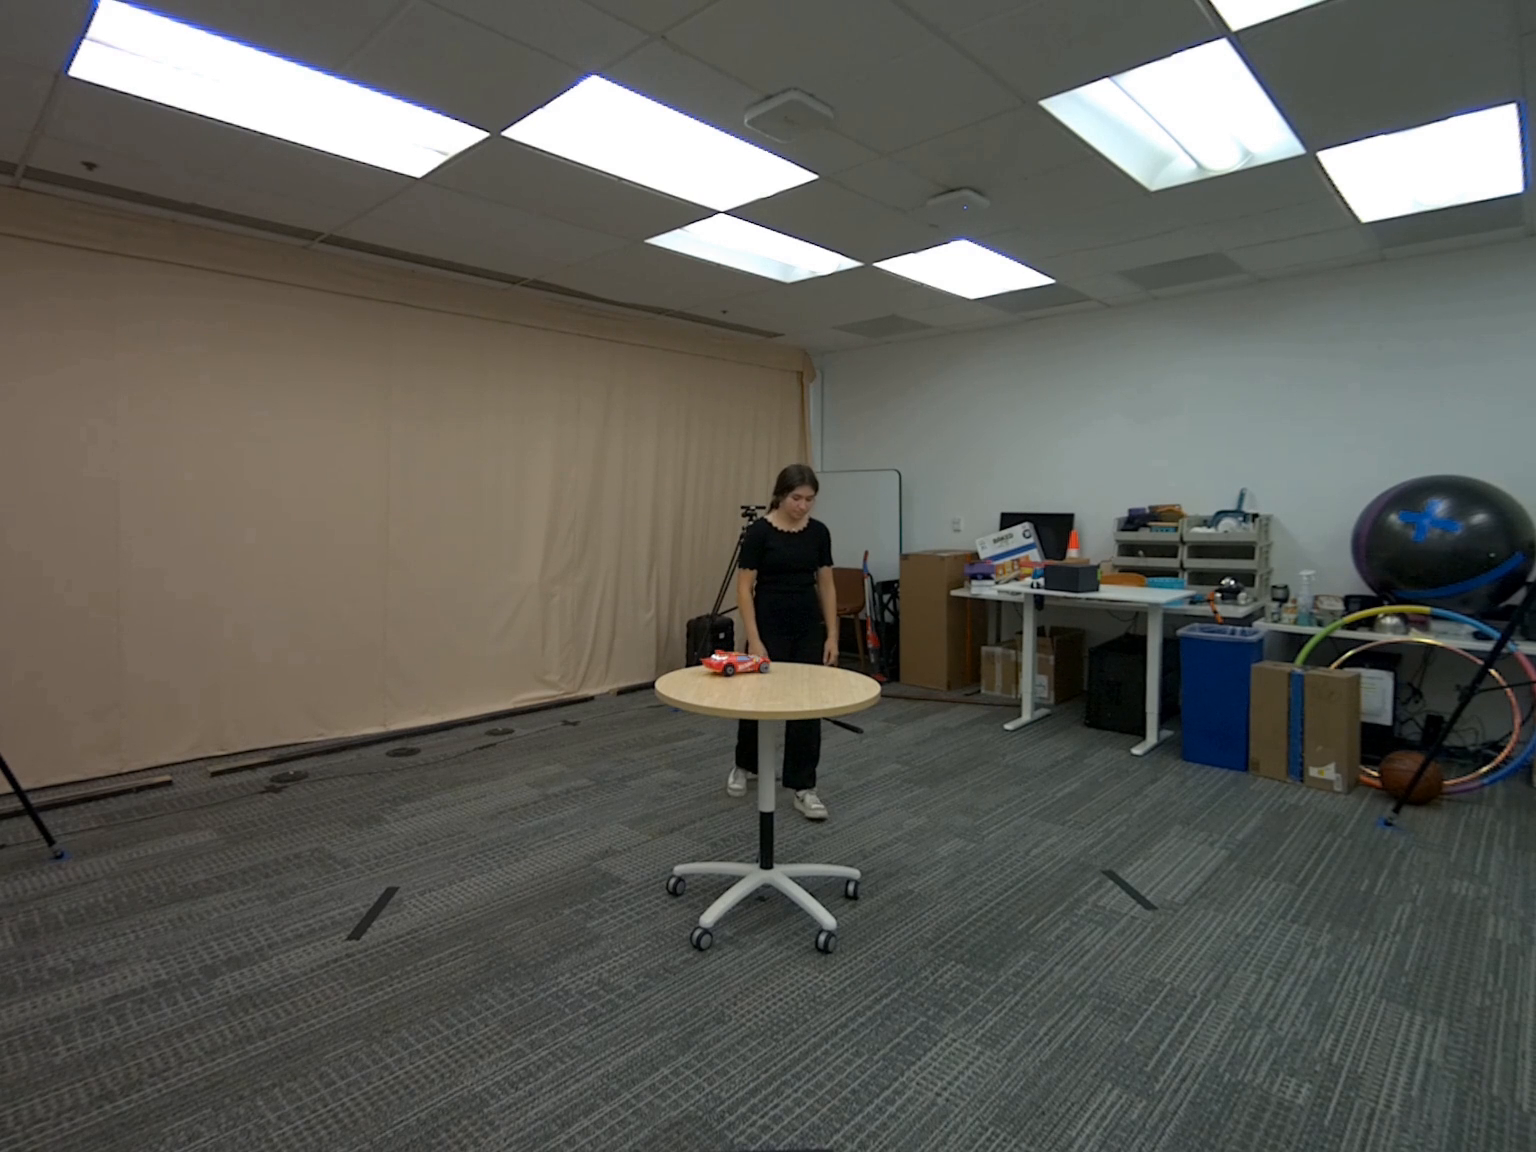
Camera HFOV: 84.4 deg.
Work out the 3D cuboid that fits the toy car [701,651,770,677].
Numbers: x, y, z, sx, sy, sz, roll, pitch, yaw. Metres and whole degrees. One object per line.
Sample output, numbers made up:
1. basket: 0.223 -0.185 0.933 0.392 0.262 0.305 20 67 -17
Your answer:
1. toy car: -0.121 0.319 3.050 0.247 0.083 0.134 11 -1 -28
